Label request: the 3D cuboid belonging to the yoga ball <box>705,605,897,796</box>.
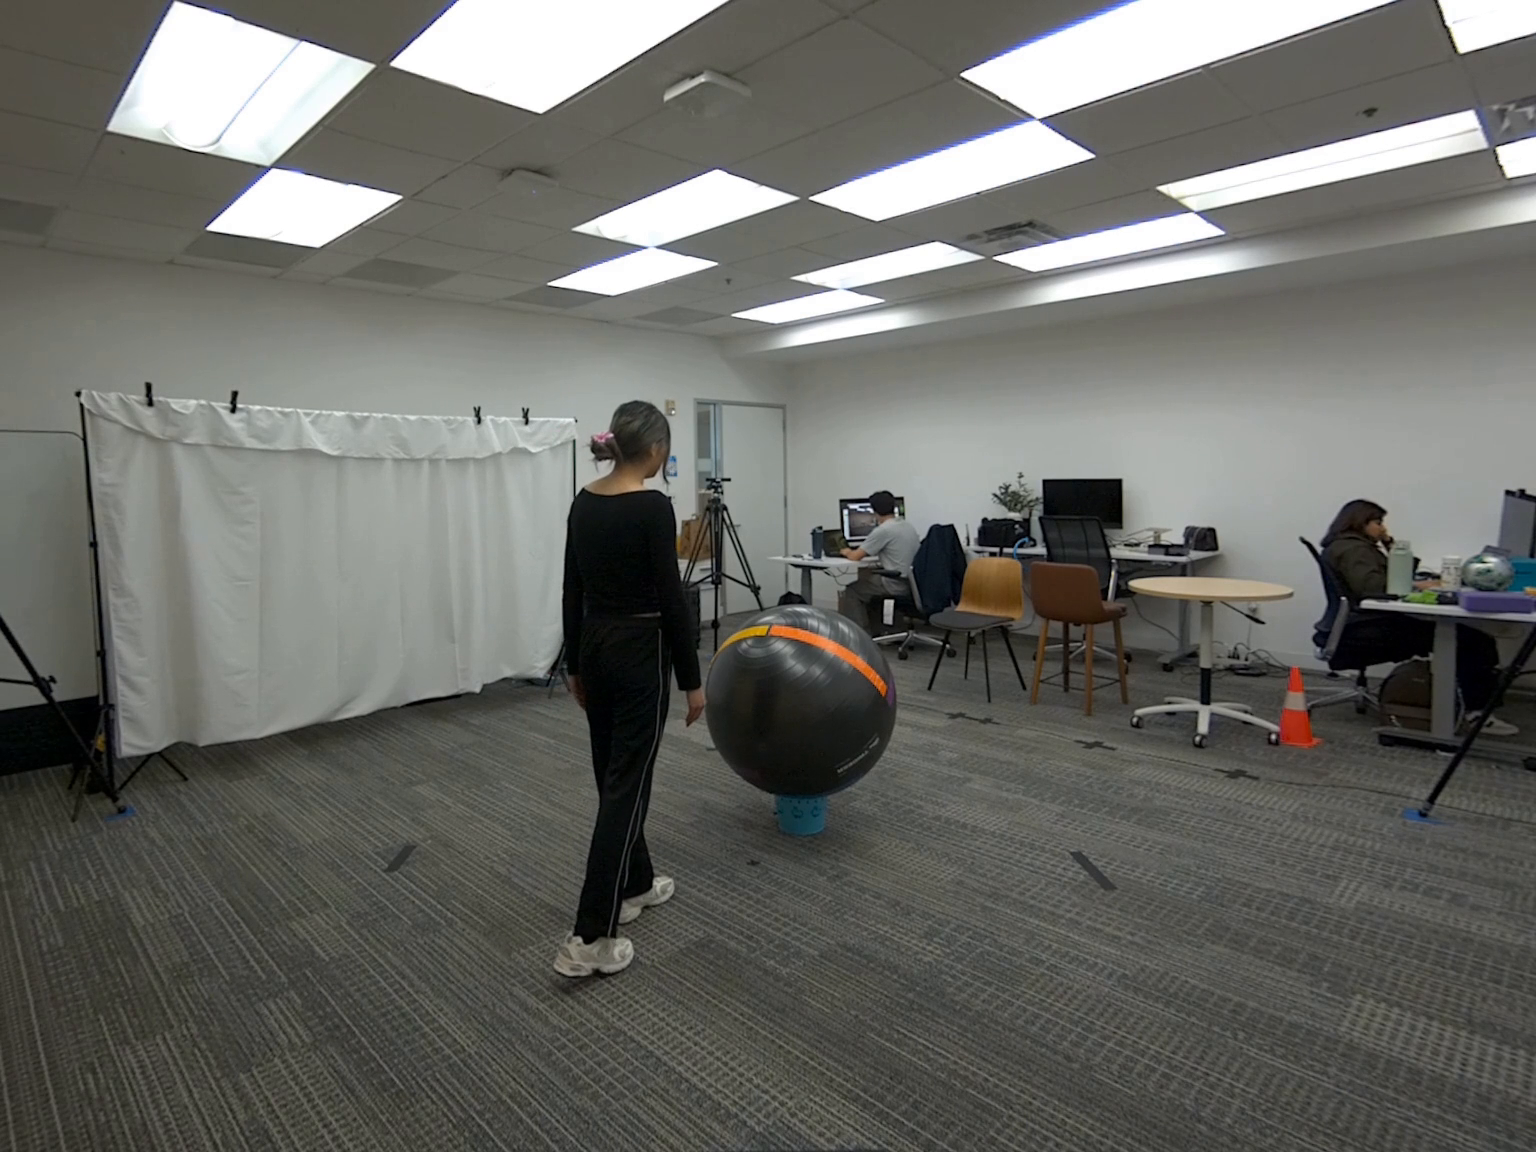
[{"bbox_3d":[0.125,0.499,3.408,0.757,0.755,0.762,-1,5,-2],"label":"yoga ball"}]
